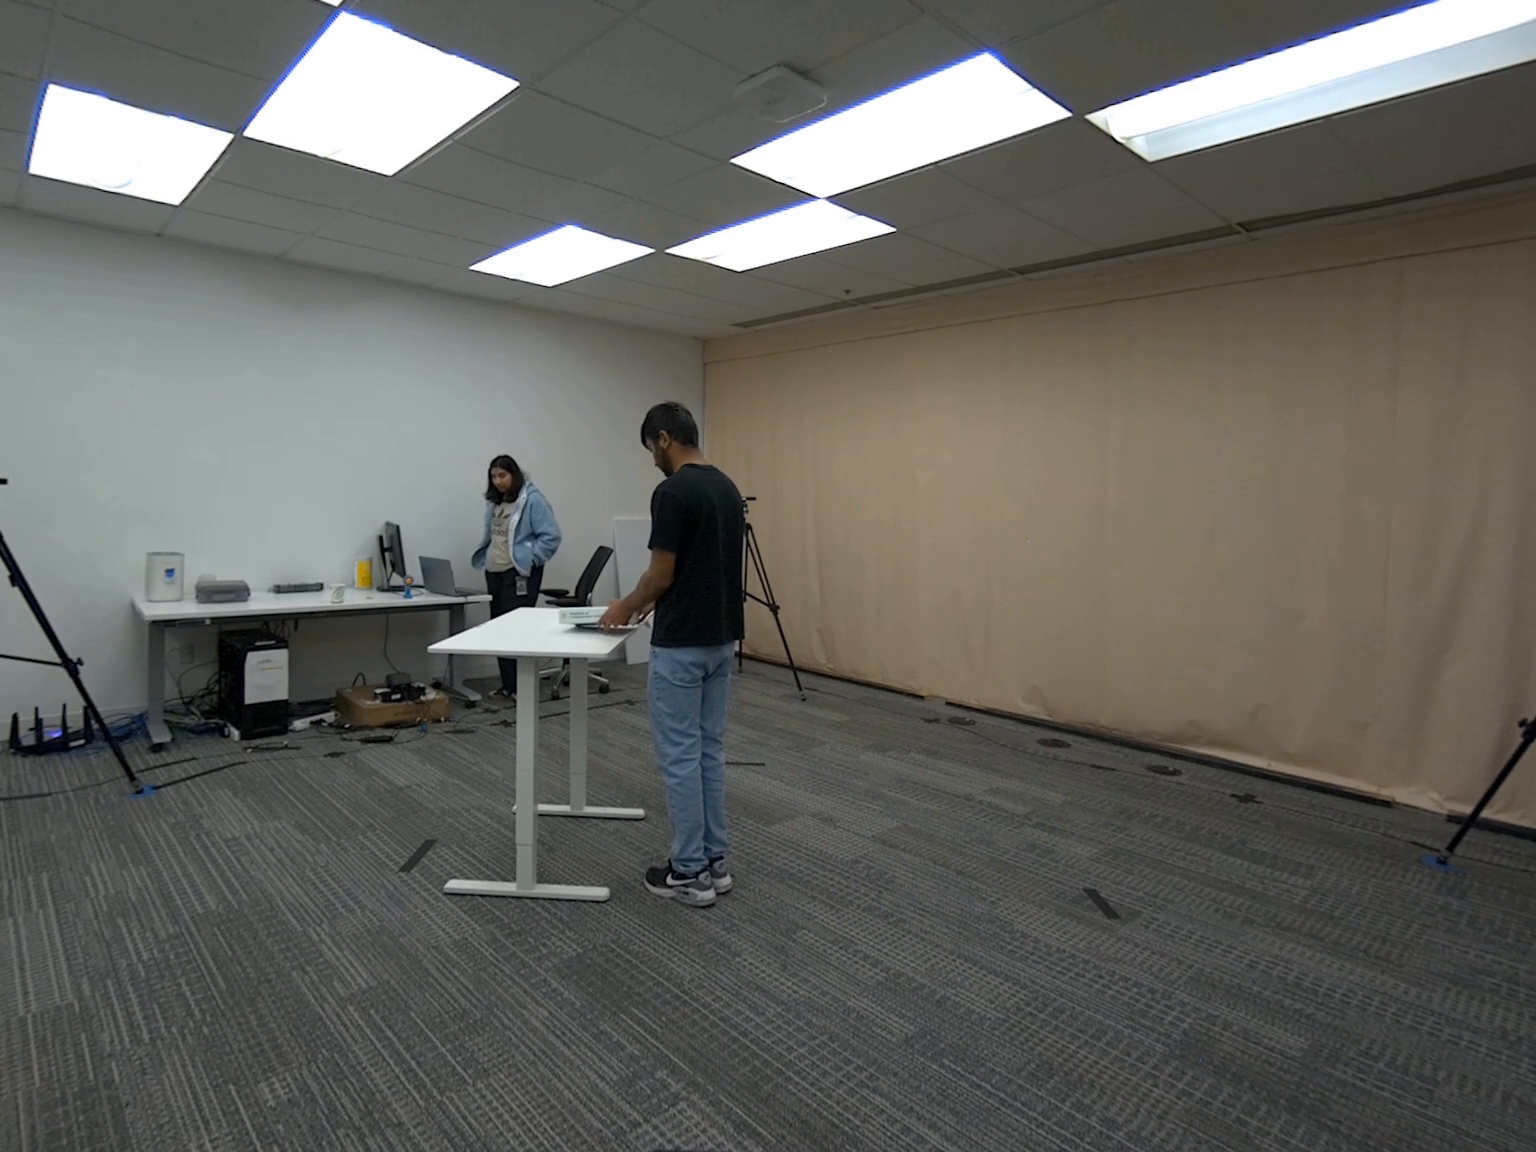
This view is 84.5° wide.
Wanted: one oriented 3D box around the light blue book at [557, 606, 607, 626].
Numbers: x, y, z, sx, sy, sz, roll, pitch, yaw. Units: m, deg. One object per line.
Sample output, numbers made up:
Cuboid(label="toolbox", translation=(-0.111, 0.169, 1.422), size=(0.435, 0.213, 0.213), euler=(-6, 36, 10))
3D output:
Cuboid(label="light blue book", translation=(-0.656, 0.148, 3.201), size=(0.262, 0.059, 0.190), euler=(-1, -3, 5))
